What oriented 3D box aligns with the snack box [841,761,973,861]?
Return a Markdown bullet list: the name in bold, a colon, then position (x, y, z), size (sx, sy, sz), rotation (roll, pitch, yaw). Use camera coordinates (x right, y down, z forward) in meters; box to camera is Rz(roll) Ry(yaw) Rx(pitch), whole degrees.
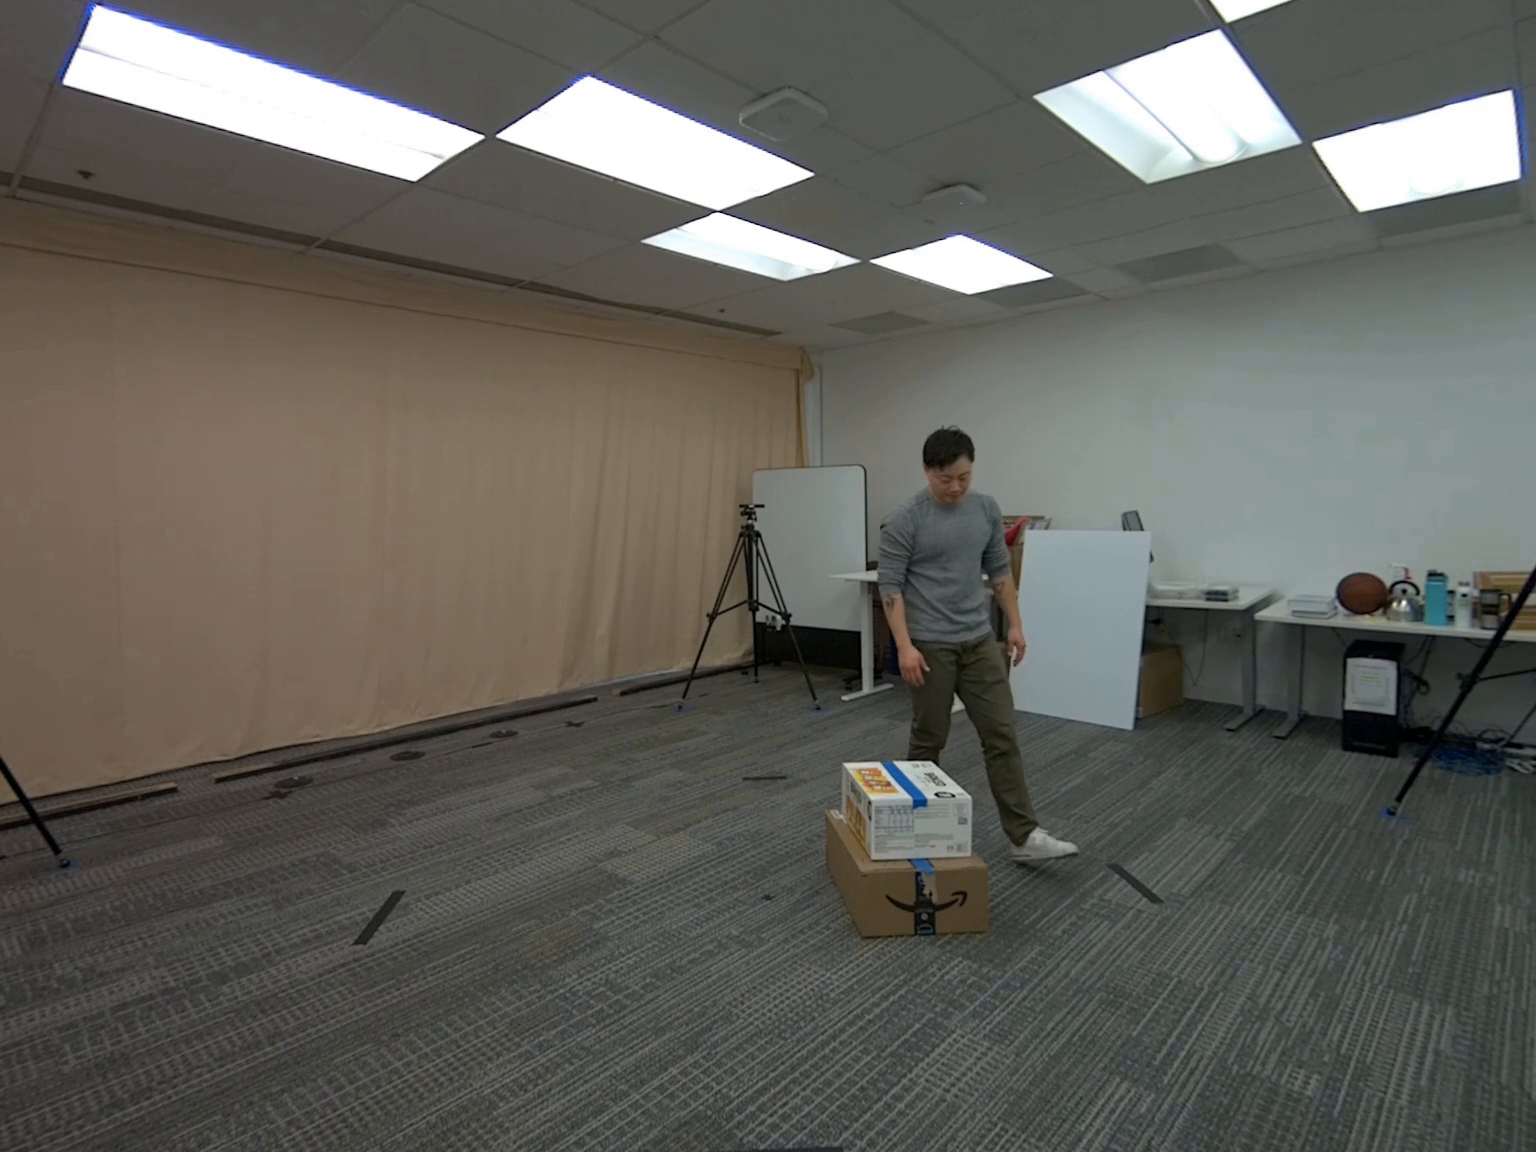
- **snack box**: position (0.480, 0.815, 2.963), size (0.338, 0.205, 0.409), rotation (-1, 4, -8)
